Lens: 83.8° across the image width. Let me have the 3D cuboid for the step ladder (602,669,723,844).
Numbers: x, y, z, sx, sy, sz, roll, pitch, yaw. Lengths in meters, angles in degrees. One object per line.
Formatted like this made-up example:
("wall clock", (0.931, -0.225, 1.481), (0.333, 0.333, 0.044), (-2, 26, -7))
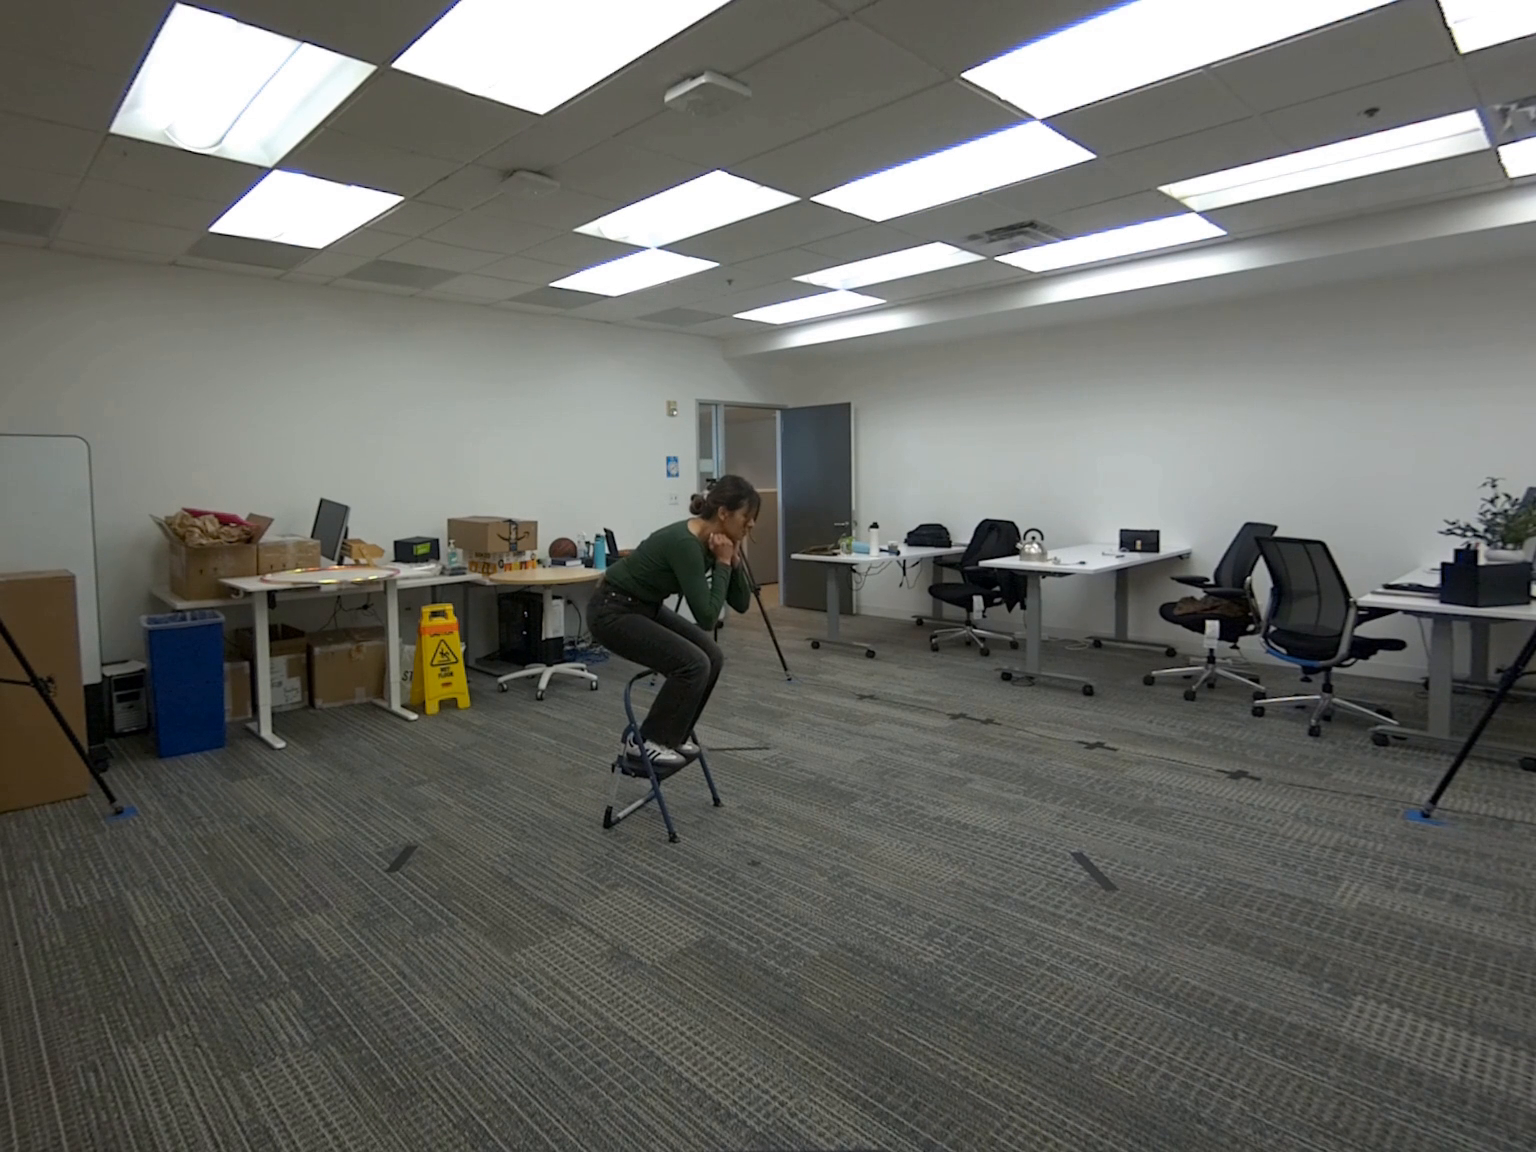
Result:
("step ladder", (-0.439, 0.702, 3.538), (0.357, 0.604, 0.423), (1, 5, 23))
